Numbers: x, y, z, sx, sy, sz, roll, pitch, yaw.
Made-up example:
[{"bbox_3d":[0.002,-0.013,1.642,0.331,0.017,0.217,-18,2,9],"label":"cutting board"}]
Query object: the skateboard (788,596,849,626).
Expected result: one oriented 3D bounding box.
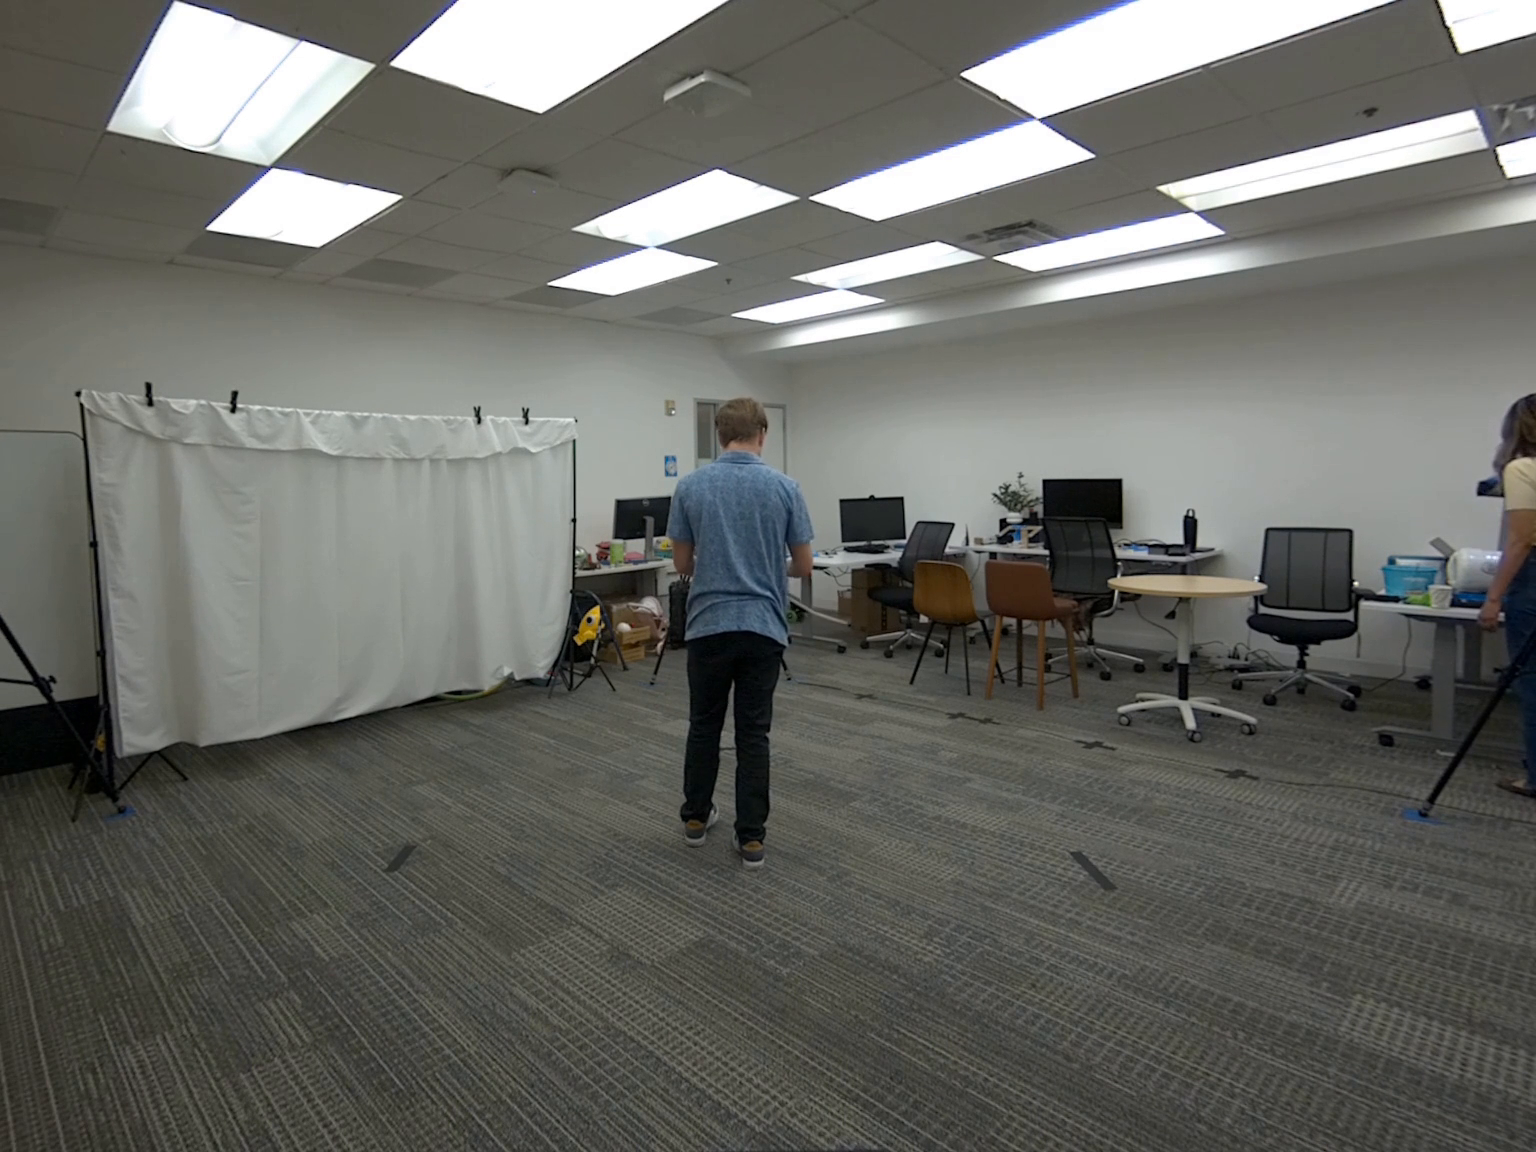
[{"bbox_3d":[-0.038,0.051,3.509,0.803,0.110,0.189,29,1,18],"label":"skateboard"}]
